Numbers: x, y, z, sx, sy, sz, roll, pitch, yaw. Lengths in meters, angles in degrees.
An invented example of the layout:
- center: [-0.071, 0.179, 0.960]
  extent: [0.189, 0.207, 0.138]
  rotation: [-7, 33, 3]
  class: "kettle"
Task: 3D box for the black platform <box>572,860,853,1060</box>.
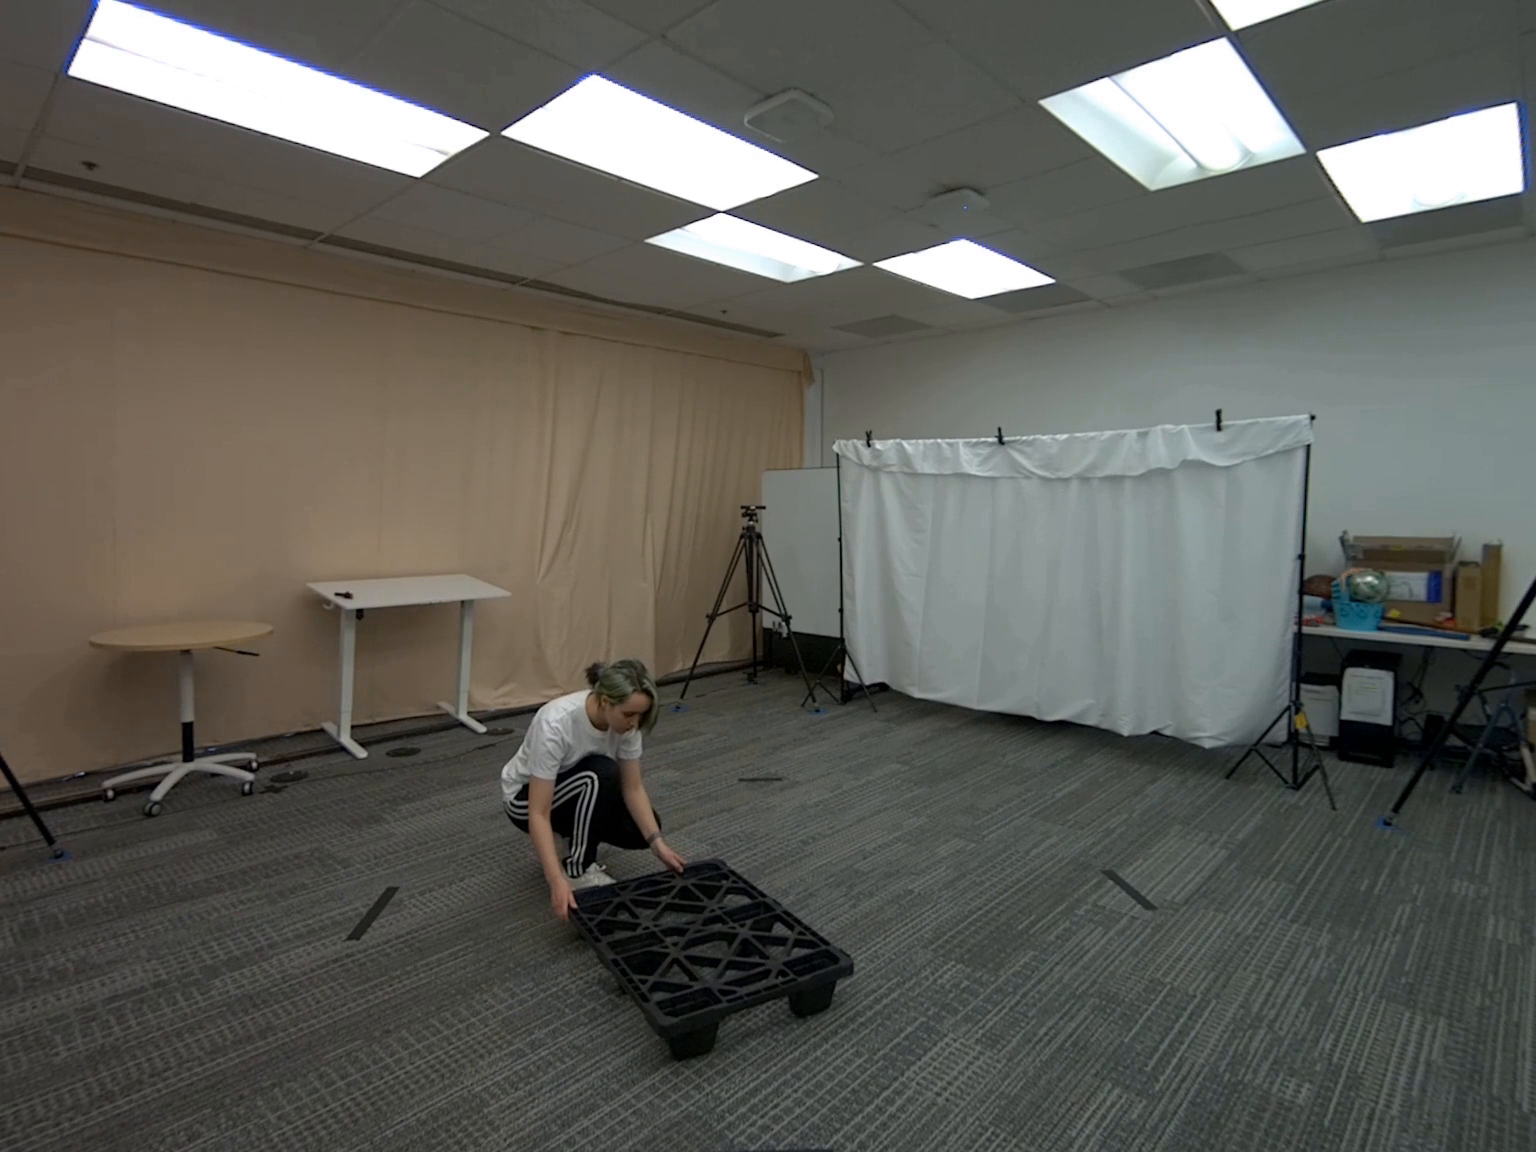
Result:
- center: [-0.215, 1.118, 2.528]
  extent: [0.589, 0.143, 0.830]
  rotation: [-2, 5, -31]
  class: "black platform"
